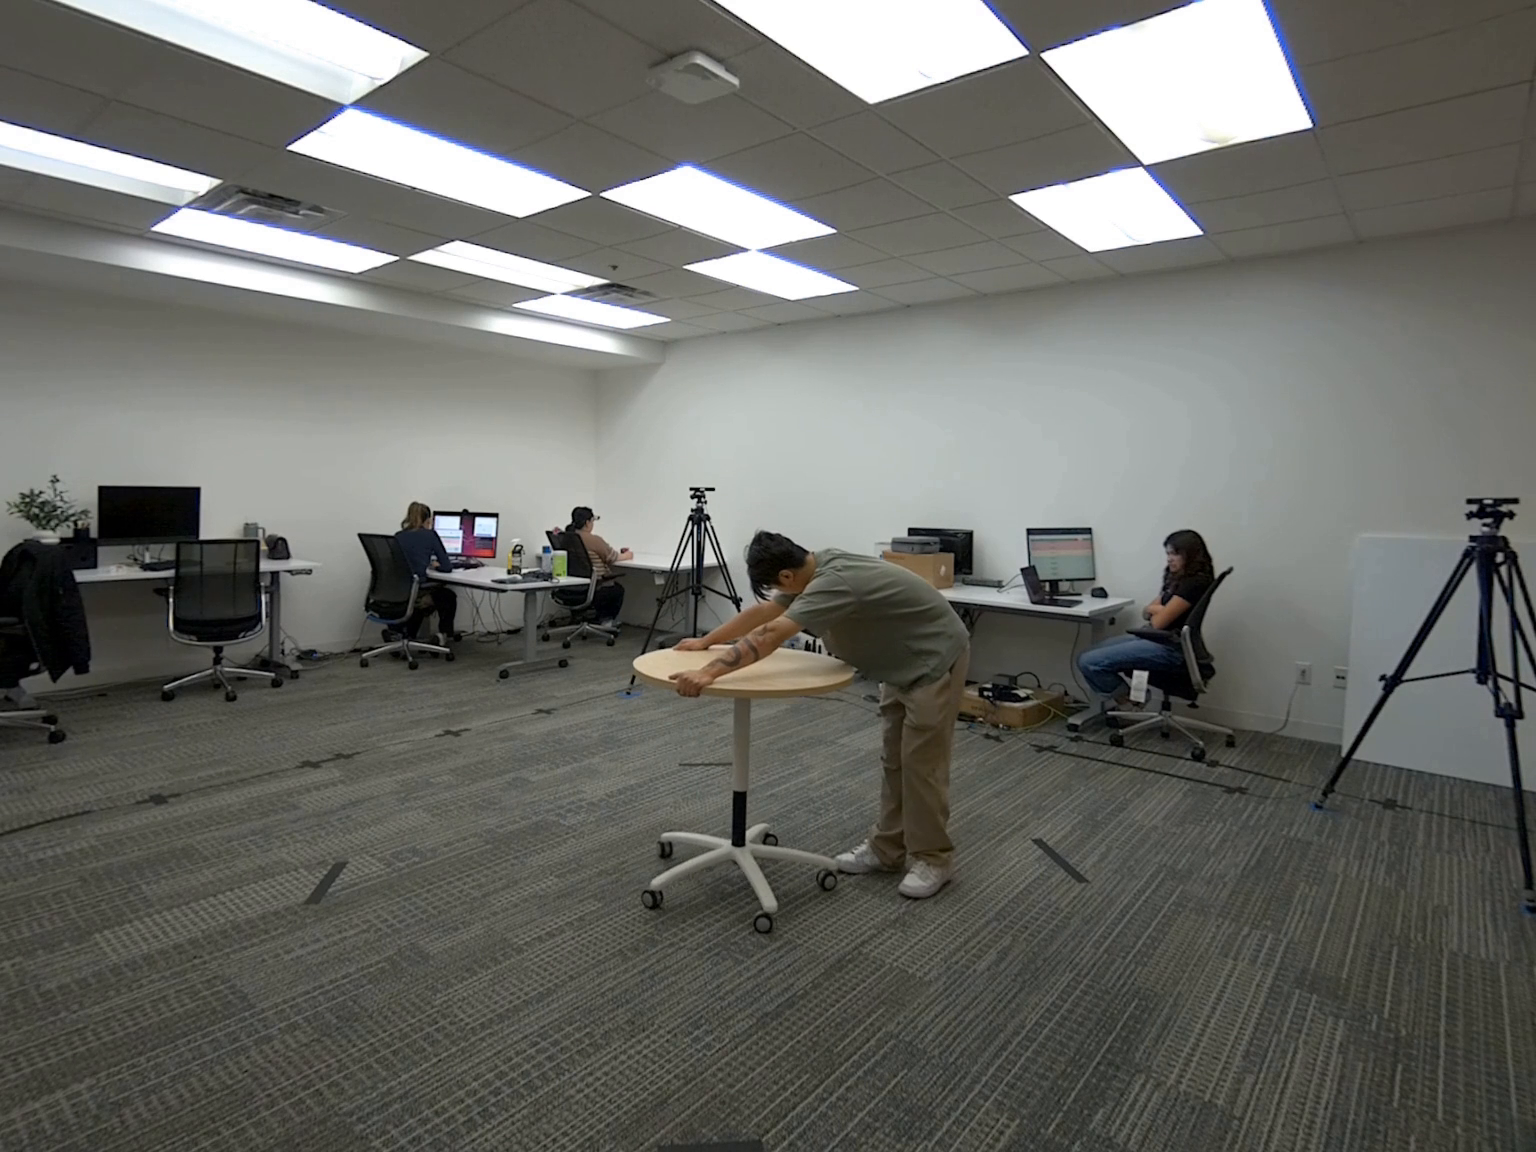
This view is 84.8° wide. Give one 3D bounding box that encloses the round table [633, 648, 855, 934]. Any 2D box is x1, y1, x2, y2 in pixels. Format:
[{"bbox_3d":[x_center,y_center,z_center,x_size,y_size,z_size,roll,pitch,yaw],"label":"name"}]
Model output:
[{"bbox_3d":[-0.112,0.695,2.964,0.784,0.784,0.788,2,4,-2],"label":"round table"}]
